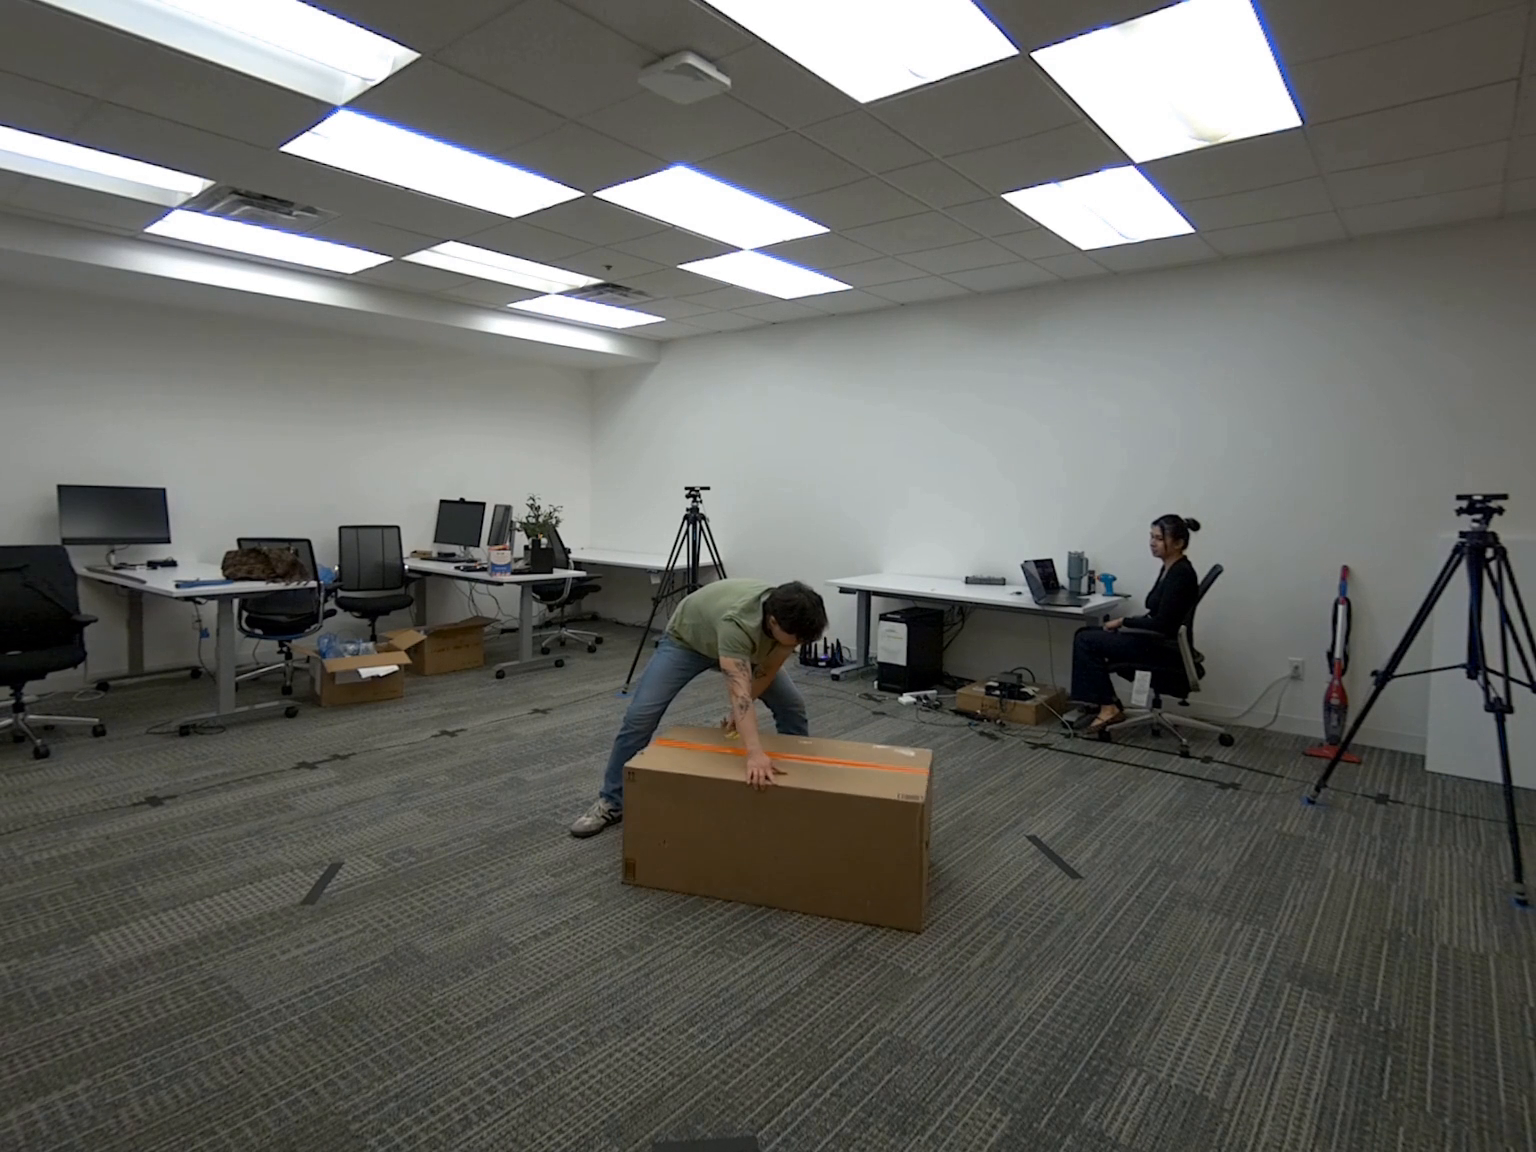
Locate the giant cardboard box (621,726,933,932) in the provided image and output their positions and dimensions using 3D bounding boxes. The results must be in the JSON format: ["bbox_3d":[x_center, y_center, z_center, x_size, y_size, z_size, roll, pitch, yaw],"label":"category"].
[{"bbox_3d":[0.054,0.858,3.077,1.044,0.425,0.569,2,4,16],"label":"giant cardboard box"}]
